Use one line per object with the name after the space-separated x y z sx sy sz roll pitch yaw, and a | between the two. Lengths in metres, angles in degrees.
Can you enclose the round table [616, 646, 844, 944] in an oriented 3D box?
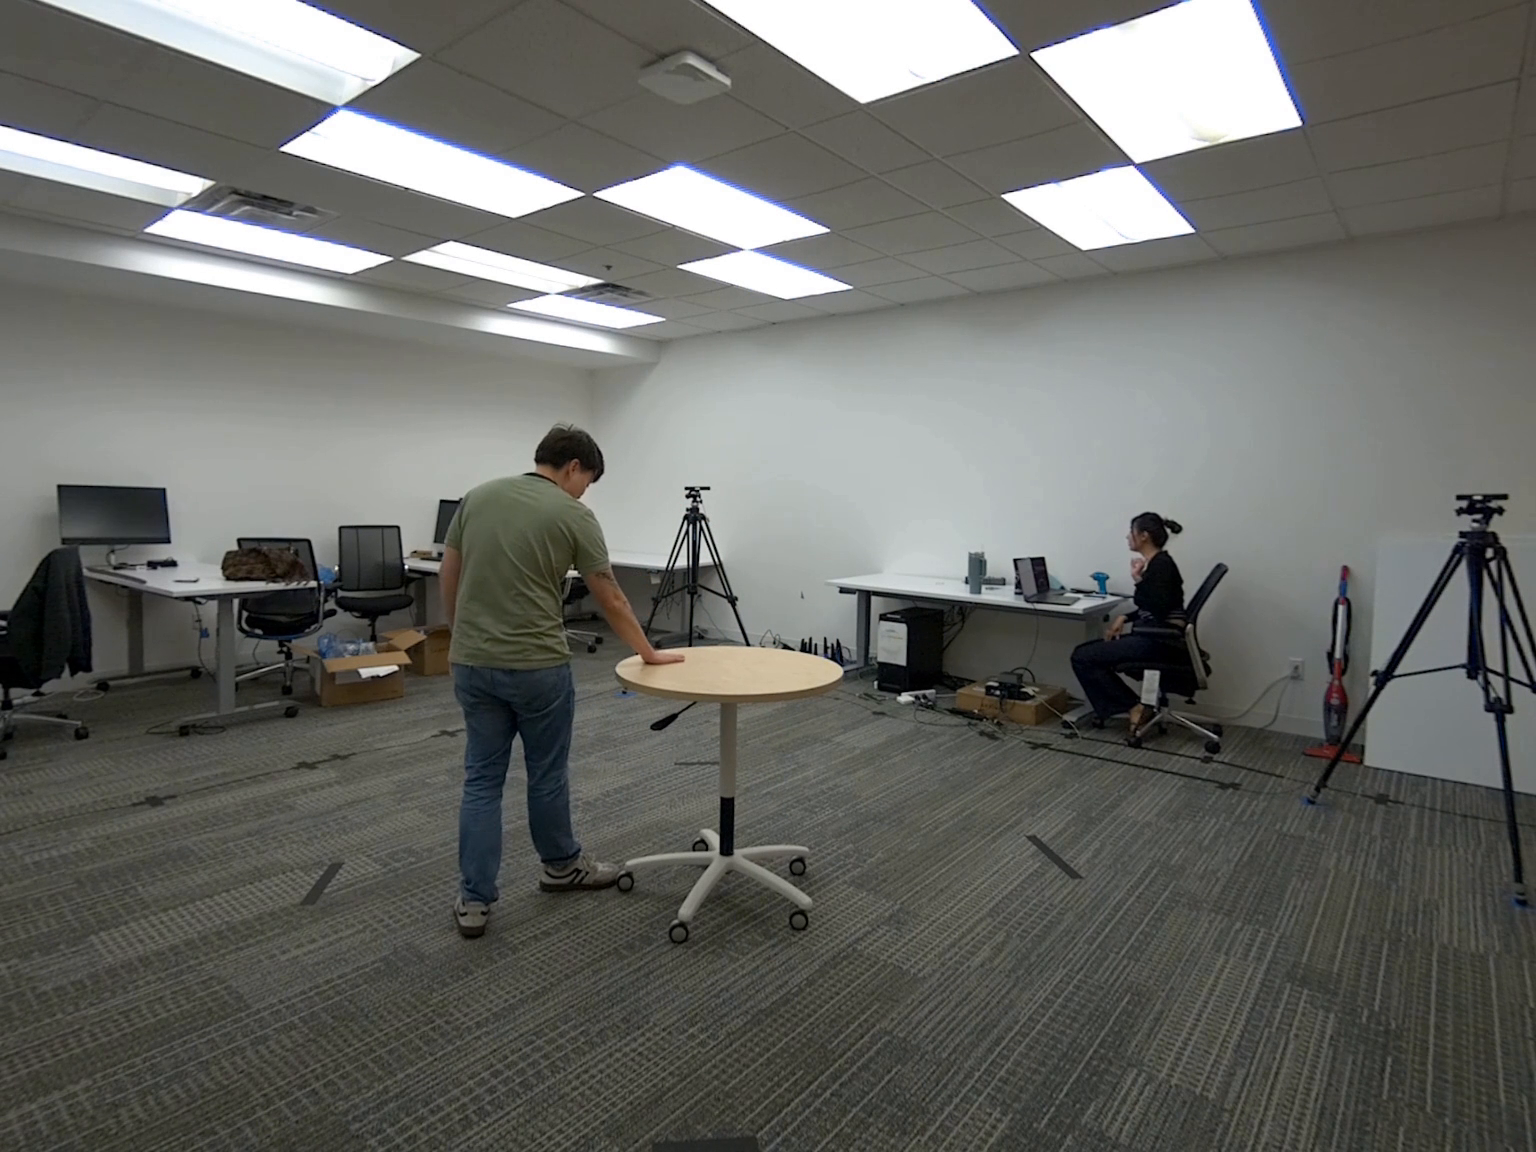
-0.144 0.702 2.890 0.763 0.791 0.768 1 4 -2 | round table
